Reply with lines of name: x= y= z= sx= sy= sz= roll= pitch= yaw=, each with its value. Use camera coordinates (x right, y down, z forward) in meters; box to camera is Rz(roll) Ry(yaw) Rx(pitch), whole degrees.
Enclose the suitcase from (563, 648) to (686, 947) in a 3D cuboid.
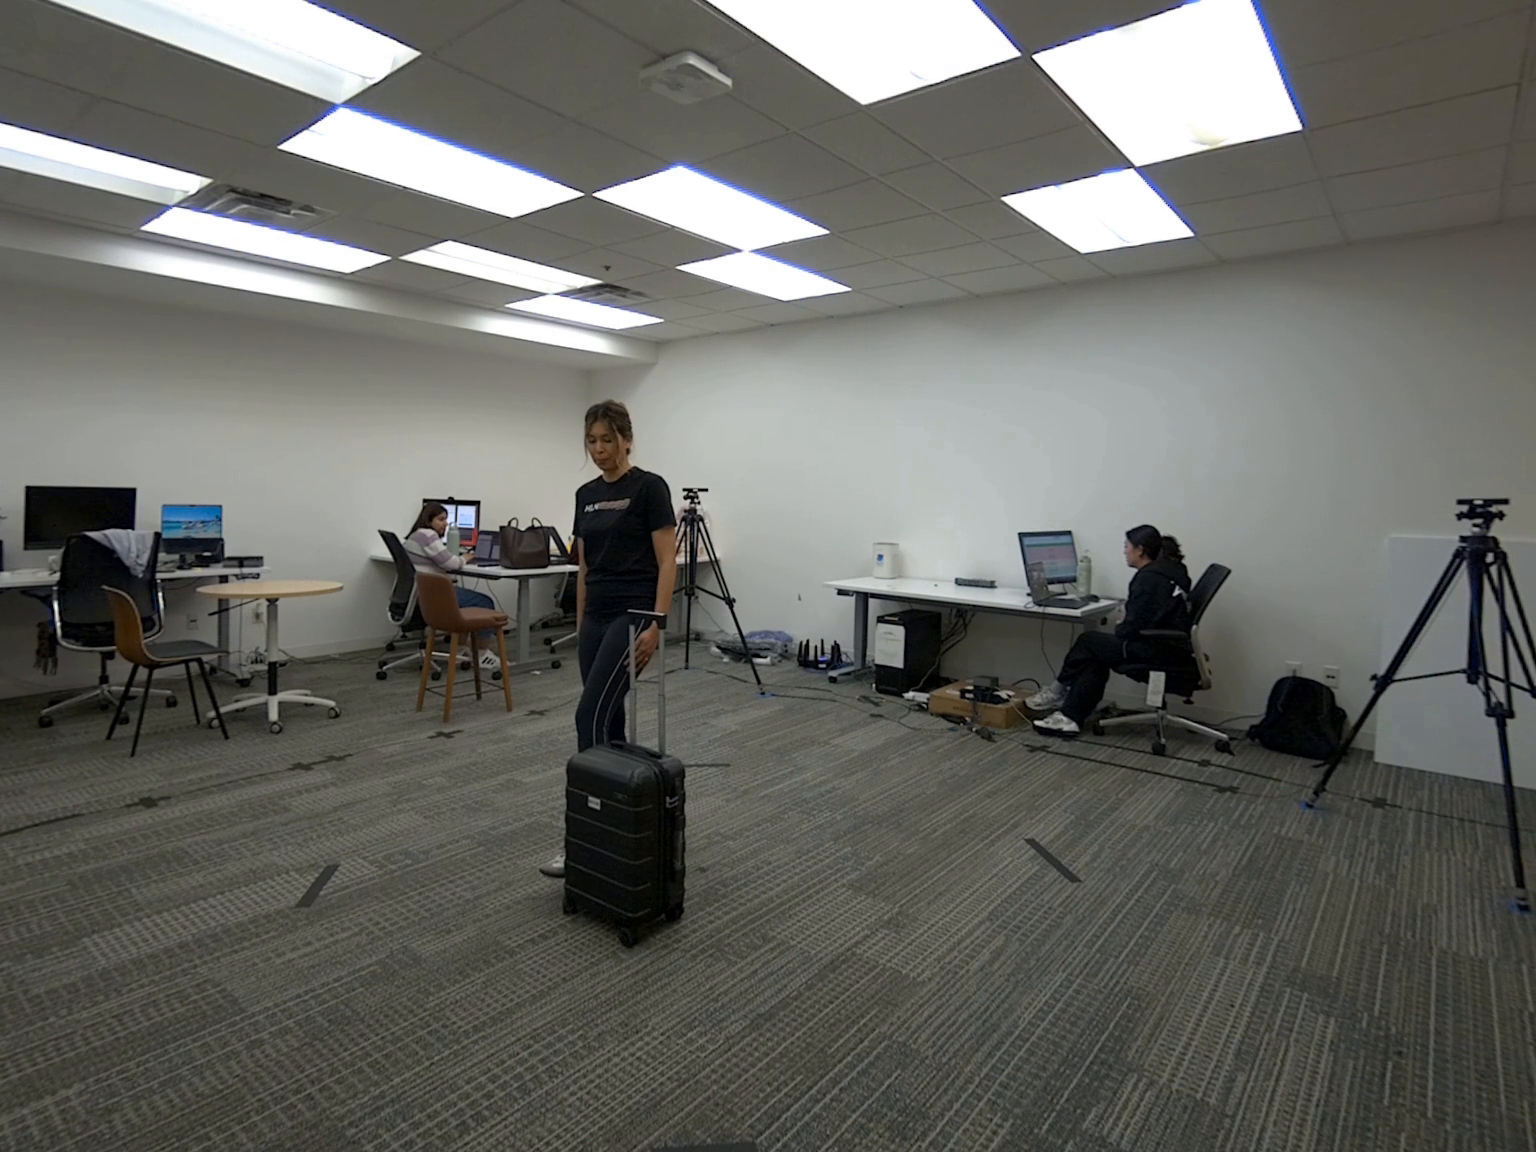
suitcase: x=-0.464 y=0.624 z=2.712 sx=0.396 sy=0.974 sz=0.250 roll=4 pitch=6 yaw=36
